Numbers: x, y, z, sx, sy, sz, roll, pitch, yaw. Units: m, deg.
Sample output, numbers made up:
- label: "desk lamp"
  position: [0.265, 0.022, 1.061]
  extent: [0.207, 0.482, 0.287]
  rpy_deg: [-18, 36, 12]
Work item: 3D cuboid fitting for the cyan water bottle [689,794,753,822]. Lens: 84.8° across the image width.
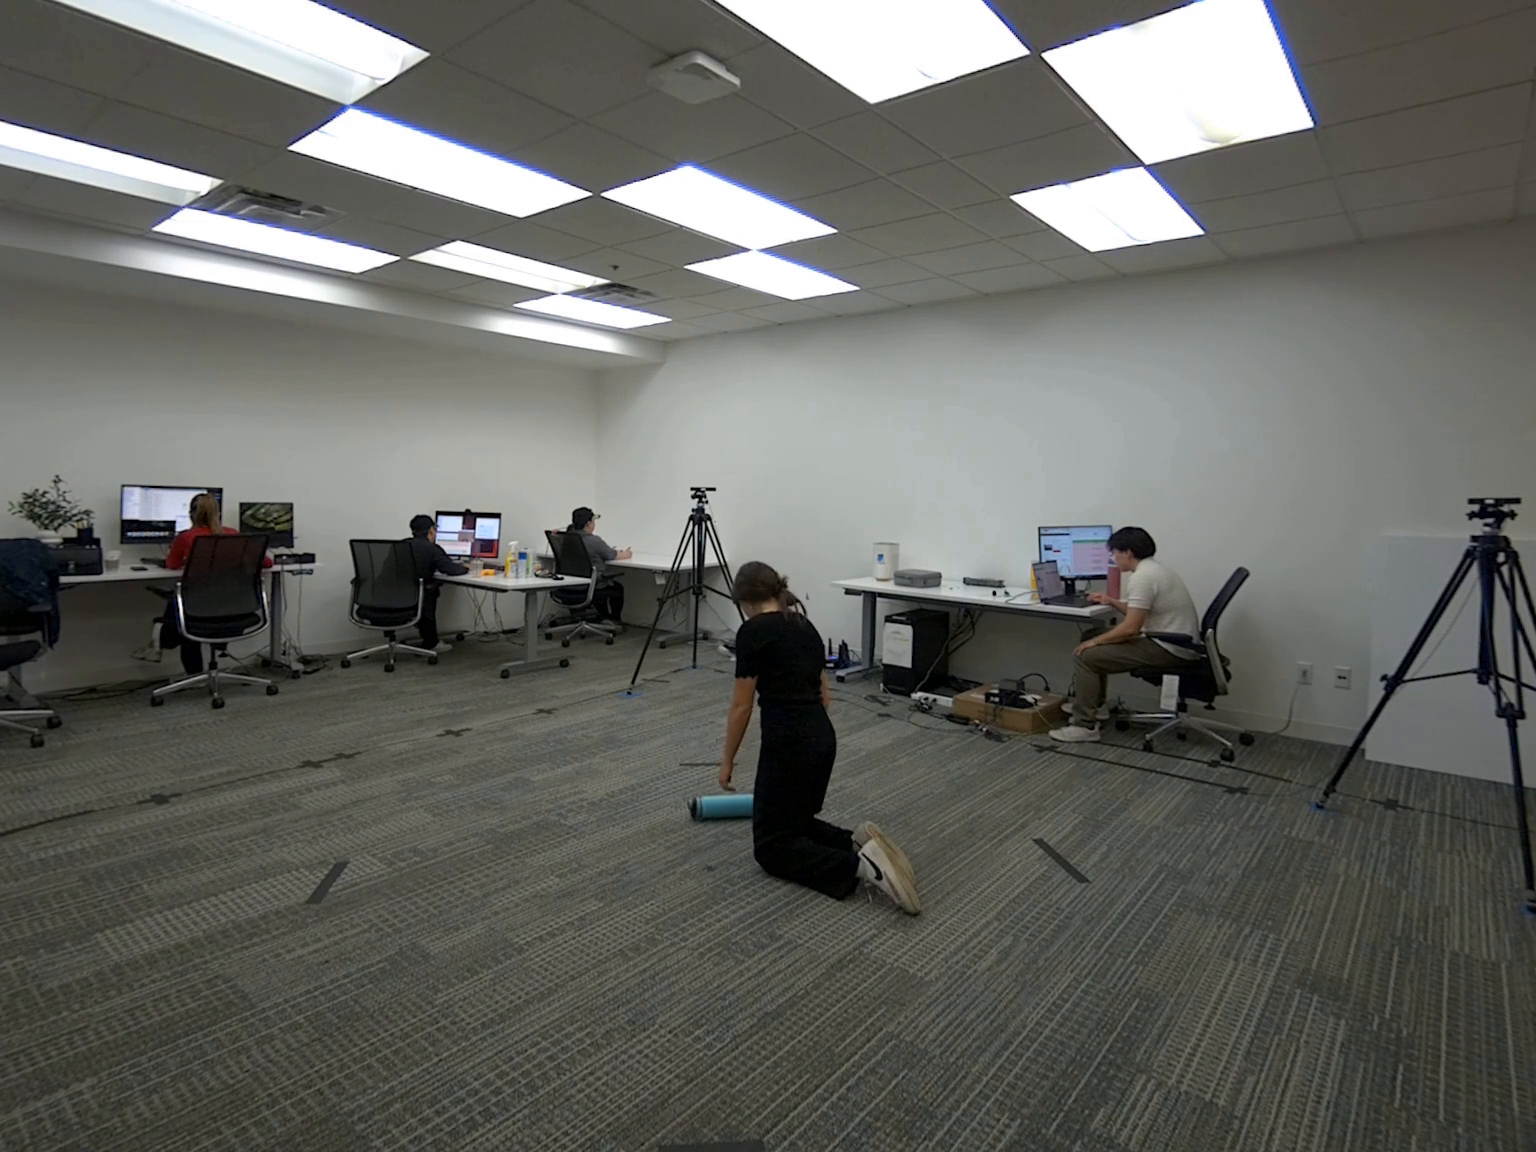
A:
- label: "cyan water bottle"
  position: [-0.211, 0.975, 3.596]
  extent: [0.280, 0.092, 0.094]
  rpy_deg: [0, 4, -10]
